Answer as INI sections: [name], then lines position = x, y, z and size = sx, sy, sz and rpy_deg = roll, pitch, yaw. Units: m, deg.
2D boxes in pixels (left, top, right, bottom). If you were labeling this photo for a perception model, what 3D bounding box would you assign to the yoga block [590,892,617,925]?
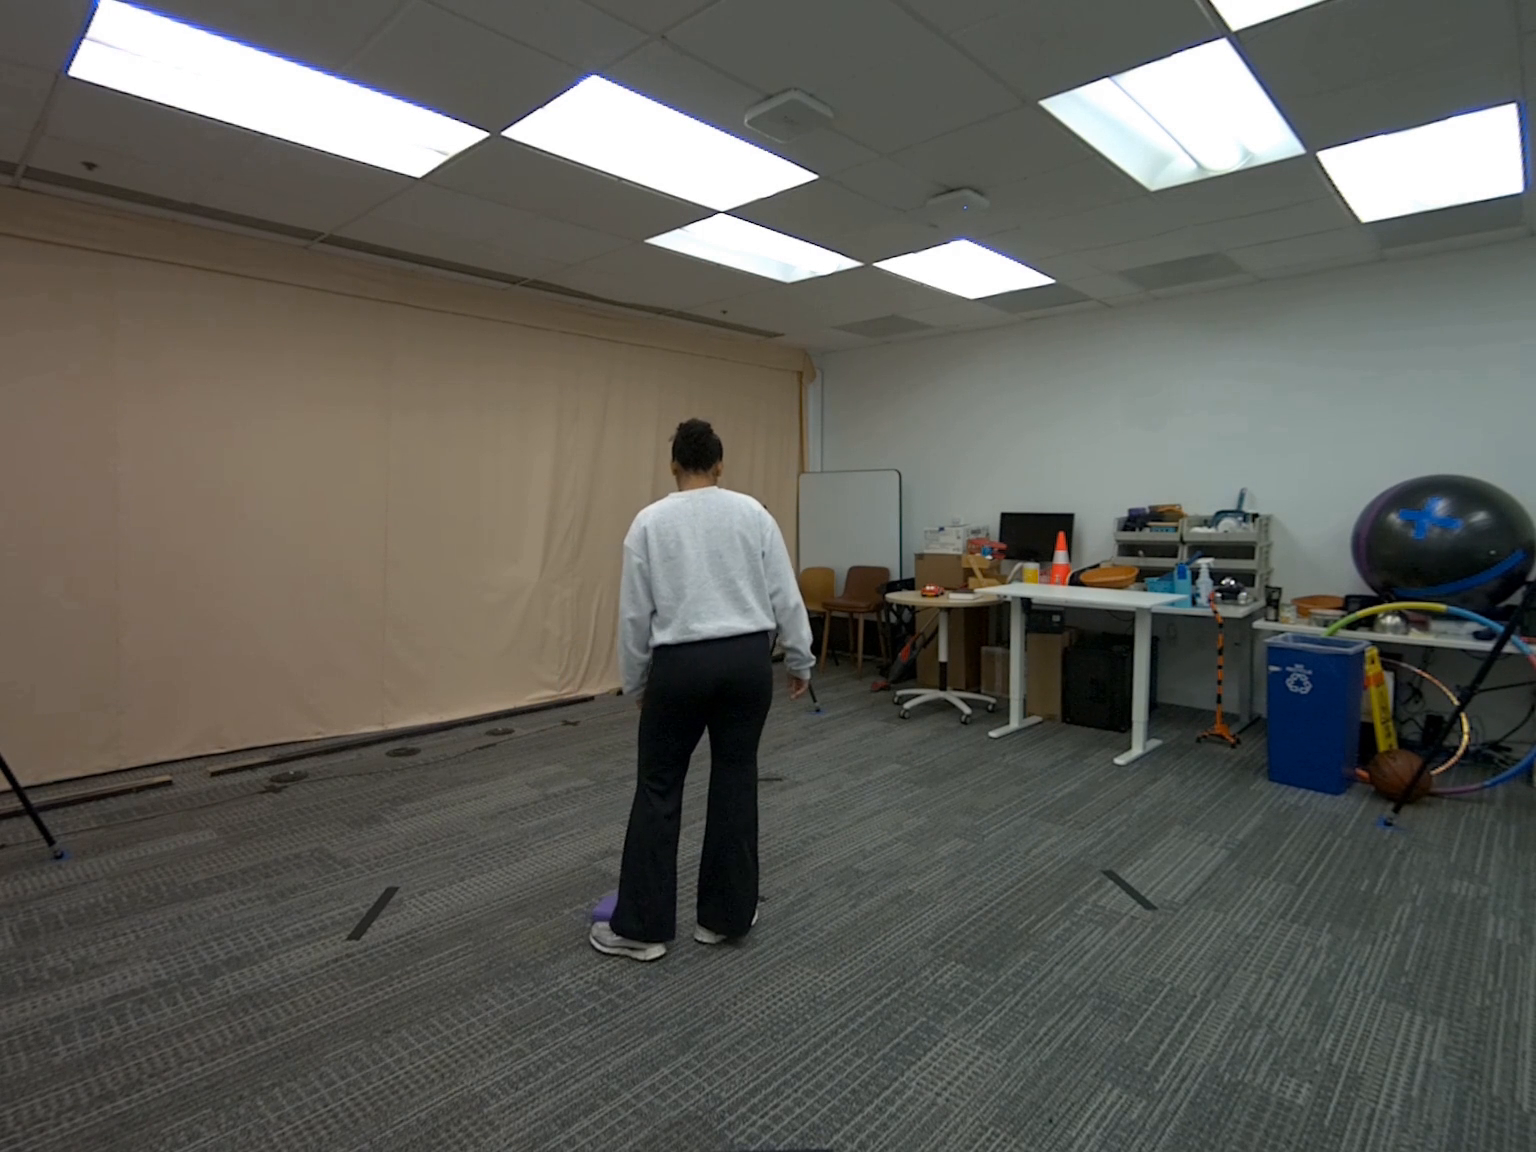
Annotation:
[yoga block]
position = -0.428, 1.119, 2.799
size = 0.234, 0.076, 0.146
rpy_deg = 1, 5, 18
